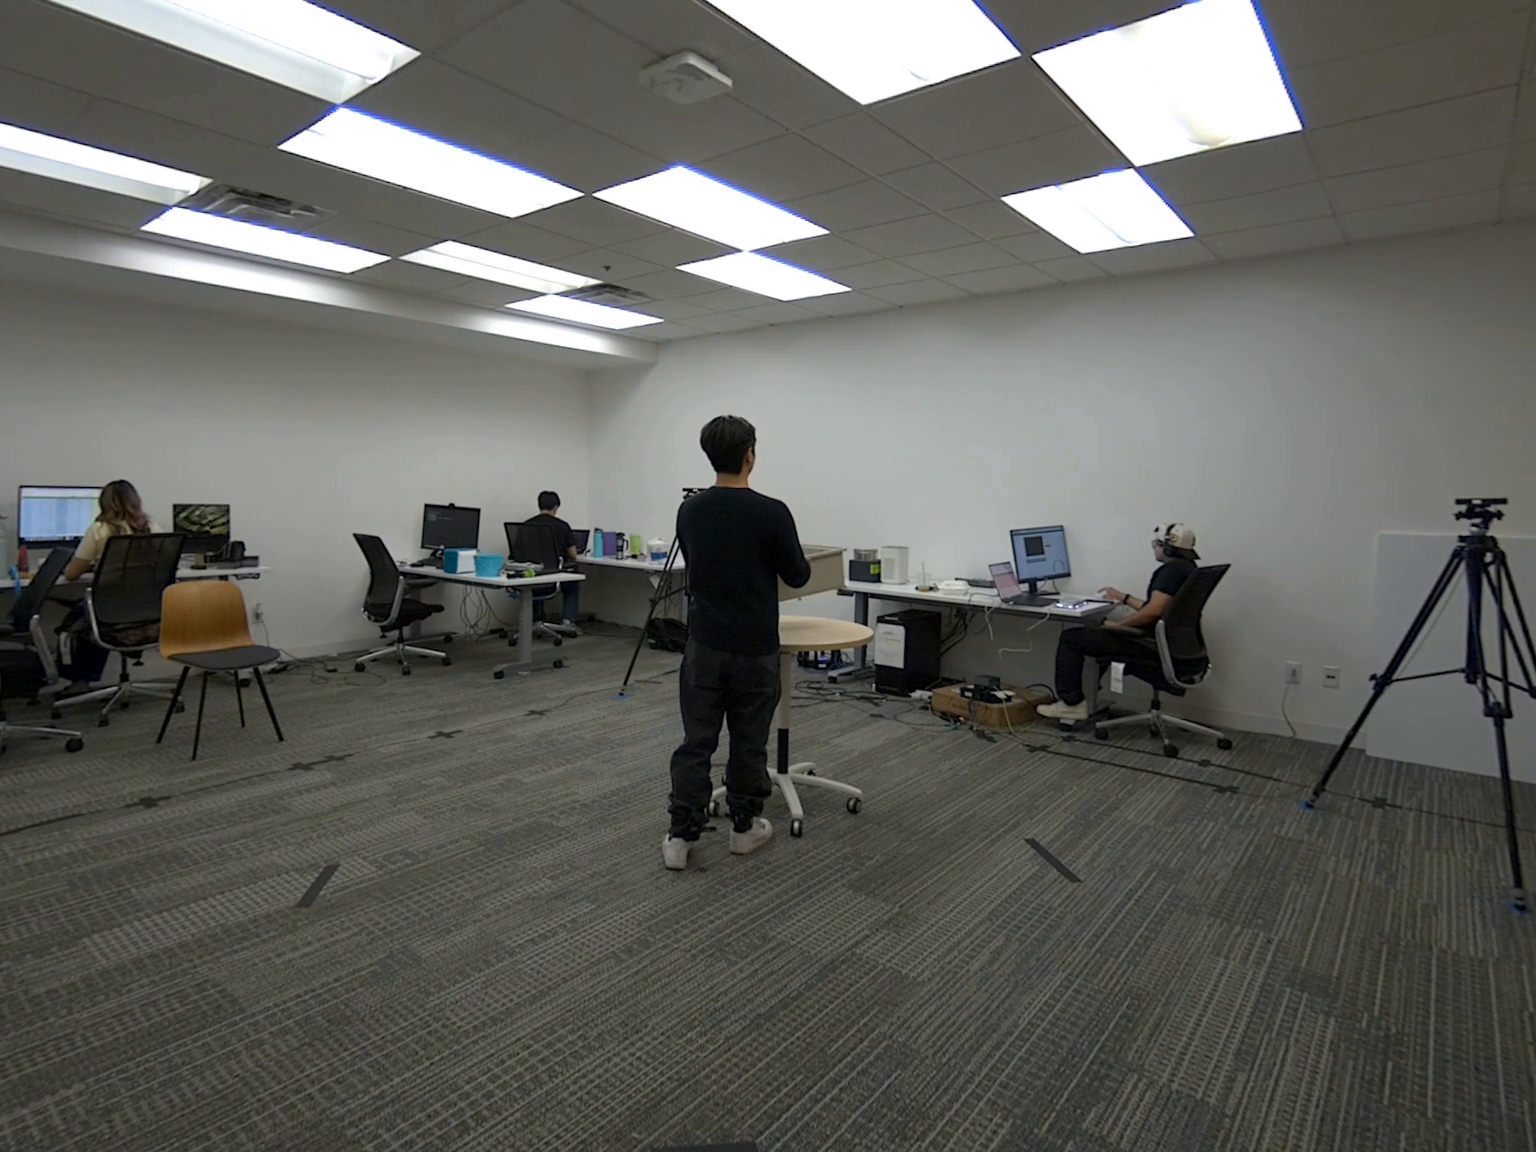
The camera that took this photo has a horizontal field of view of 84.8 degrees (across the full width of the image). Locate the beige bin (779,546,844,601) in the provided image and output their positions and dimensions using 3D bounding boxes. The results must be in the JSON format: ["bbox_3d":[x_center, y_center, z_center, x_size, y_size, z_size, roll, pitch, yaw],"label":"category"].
[{"bbox_3d":[0.070,-0.015,3.785,0.413,0.187,0.389,-11,11,-30],"label":"beige bin"}]
